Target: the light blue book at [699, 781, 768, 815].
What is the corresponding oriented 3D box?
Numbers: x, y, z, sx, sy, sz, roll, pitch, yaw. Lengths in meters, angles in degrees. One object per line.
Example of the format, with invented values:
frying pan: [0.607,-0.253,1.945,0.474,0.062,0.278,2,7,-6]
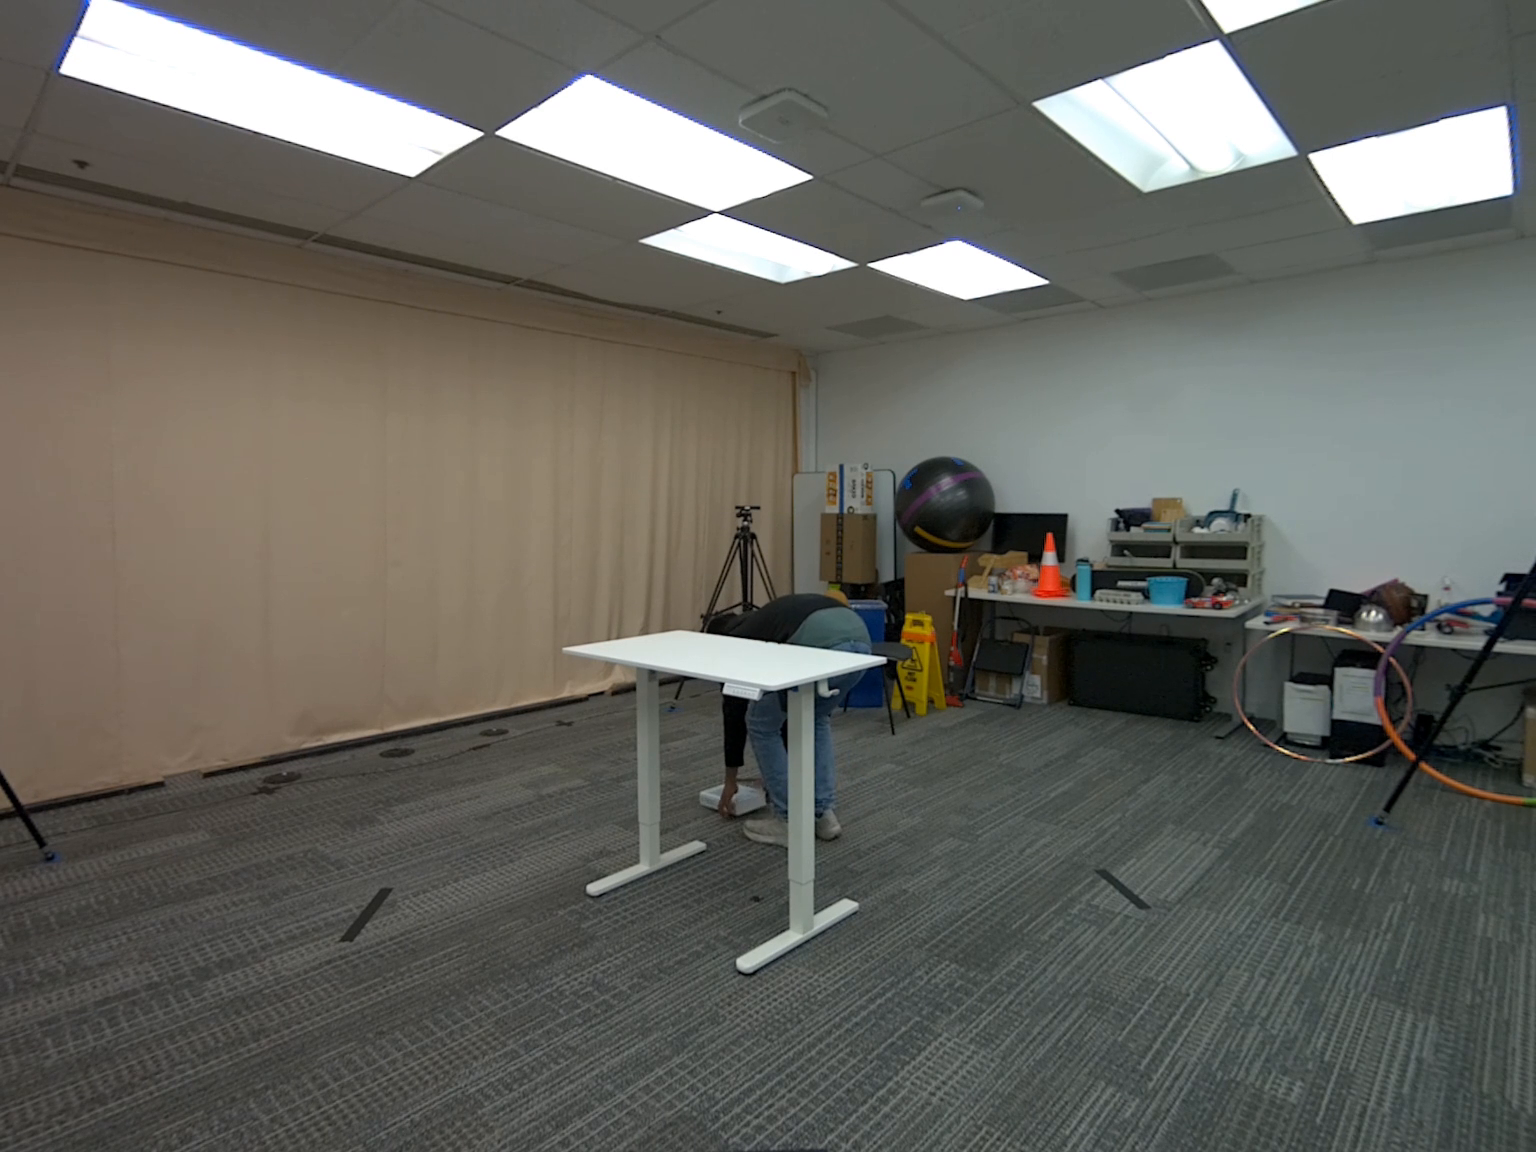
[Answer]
light blue book: [-0.162,1.010,3.887,0.185,0.059,0.269,-4,5,-40]
